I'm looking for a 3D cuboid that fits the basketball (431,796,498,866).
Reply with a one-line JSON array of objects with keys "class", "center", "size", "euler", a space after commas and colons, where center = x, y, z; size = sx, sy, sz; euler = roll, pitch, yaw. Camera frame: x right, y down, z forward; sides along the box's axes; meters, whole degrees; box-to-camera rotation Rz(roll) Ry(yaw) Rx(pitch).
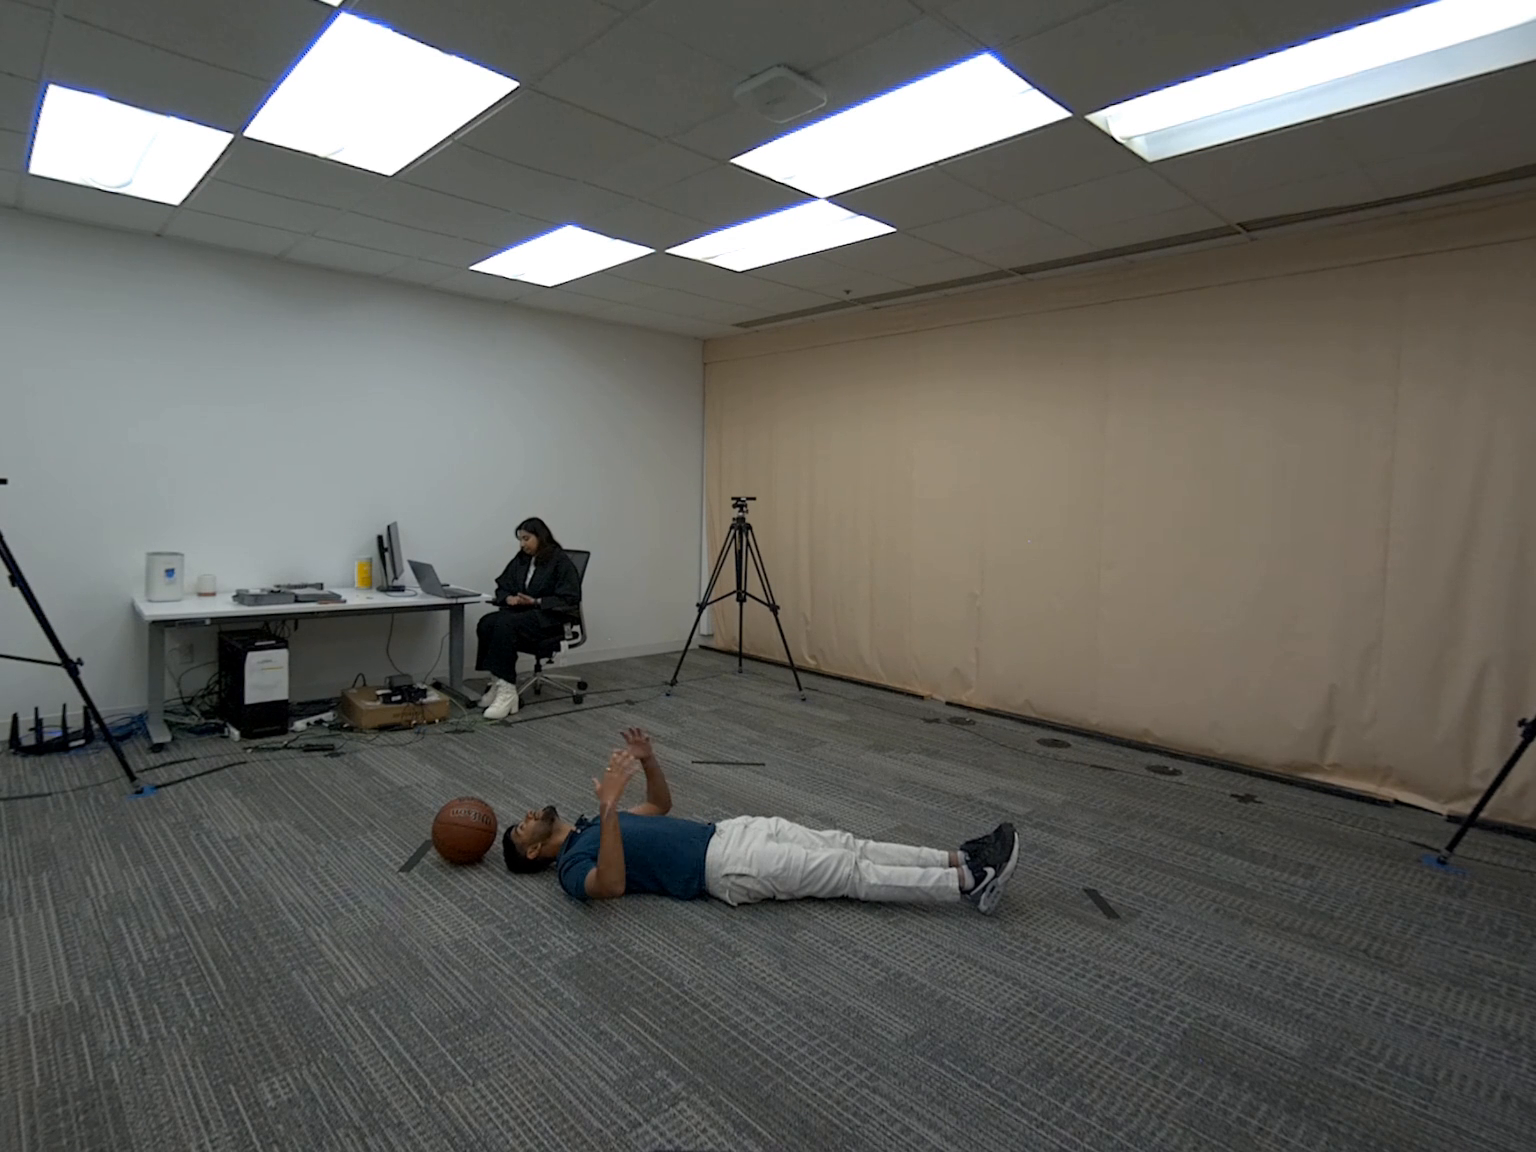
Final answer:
[{"class": "basketball", "center": [-1.155, 0.957, 3.179], "size": [0.236, 0.235, 0.237], "euler": [1, 4, -1]}]
